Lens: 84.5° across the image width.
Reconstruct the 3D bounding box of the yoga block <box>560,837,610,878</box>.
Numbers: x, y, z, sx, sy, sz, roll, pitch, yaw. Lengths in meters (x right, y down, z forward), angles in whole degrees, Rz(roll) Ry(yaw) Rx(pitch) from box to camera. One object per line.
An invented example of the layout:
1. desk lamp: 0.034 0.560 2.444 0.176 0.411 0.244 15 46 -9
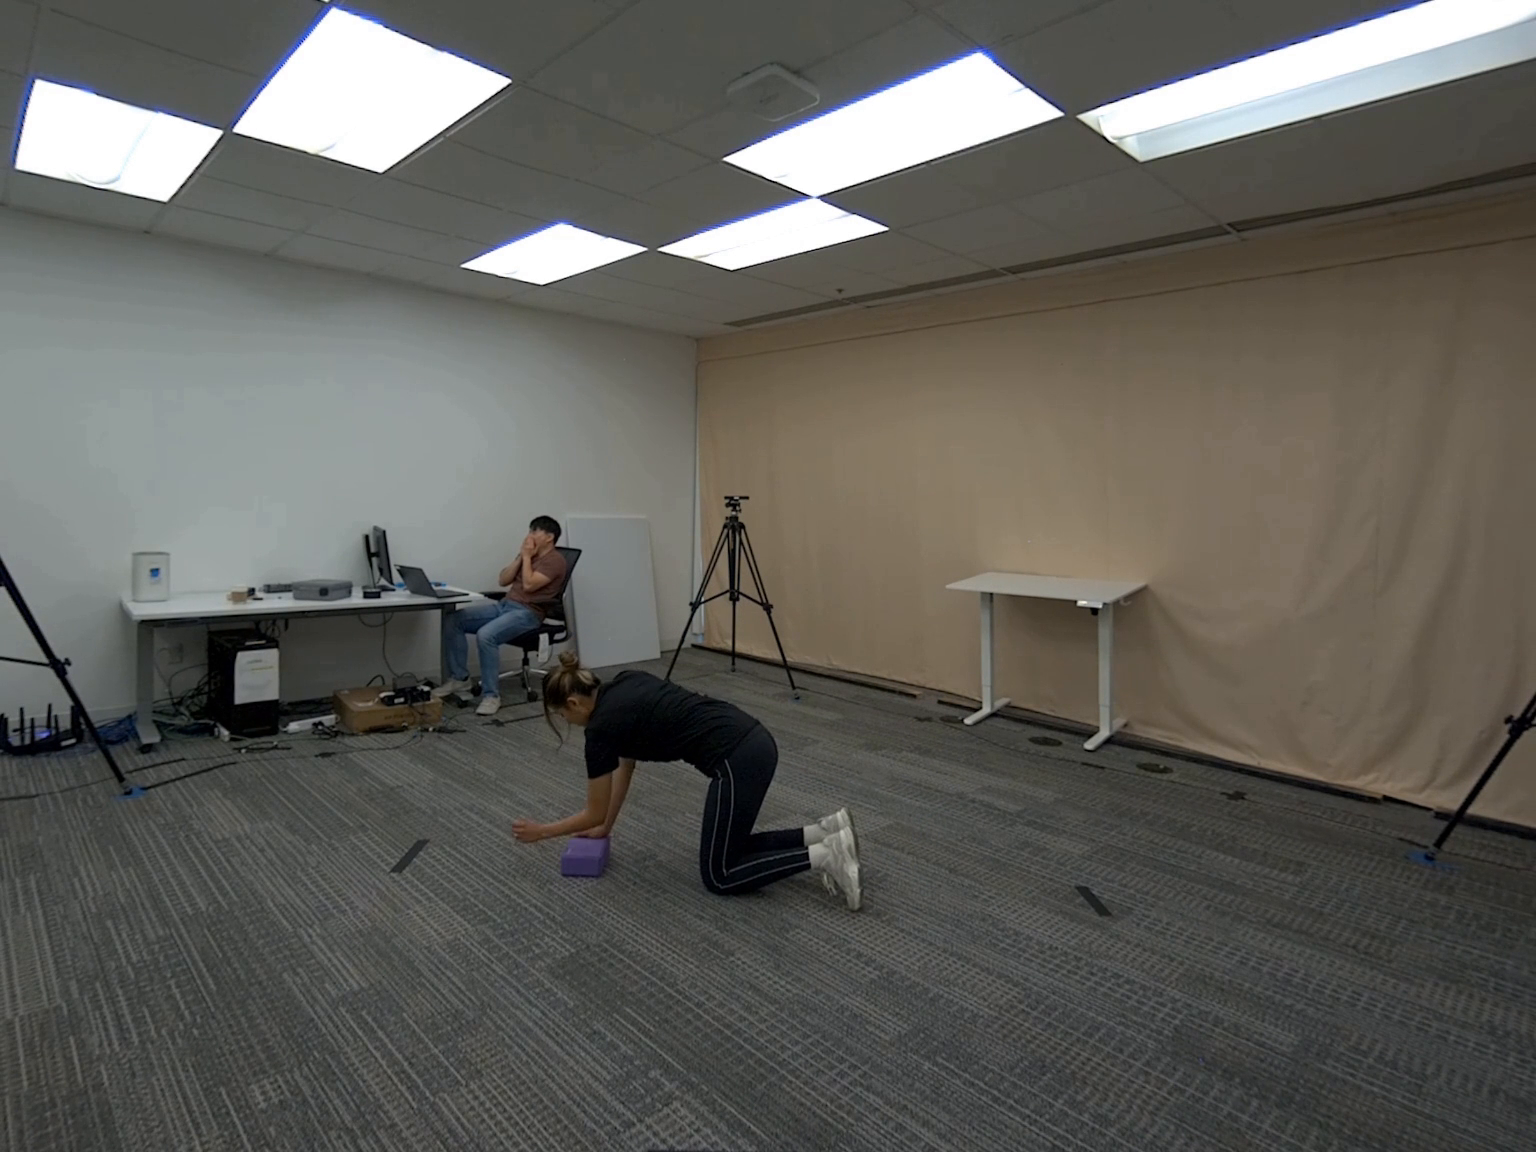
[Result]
1. yoga block: -0.684 1.040 3.164 0.149 0.076 0.230 0 4 -1
